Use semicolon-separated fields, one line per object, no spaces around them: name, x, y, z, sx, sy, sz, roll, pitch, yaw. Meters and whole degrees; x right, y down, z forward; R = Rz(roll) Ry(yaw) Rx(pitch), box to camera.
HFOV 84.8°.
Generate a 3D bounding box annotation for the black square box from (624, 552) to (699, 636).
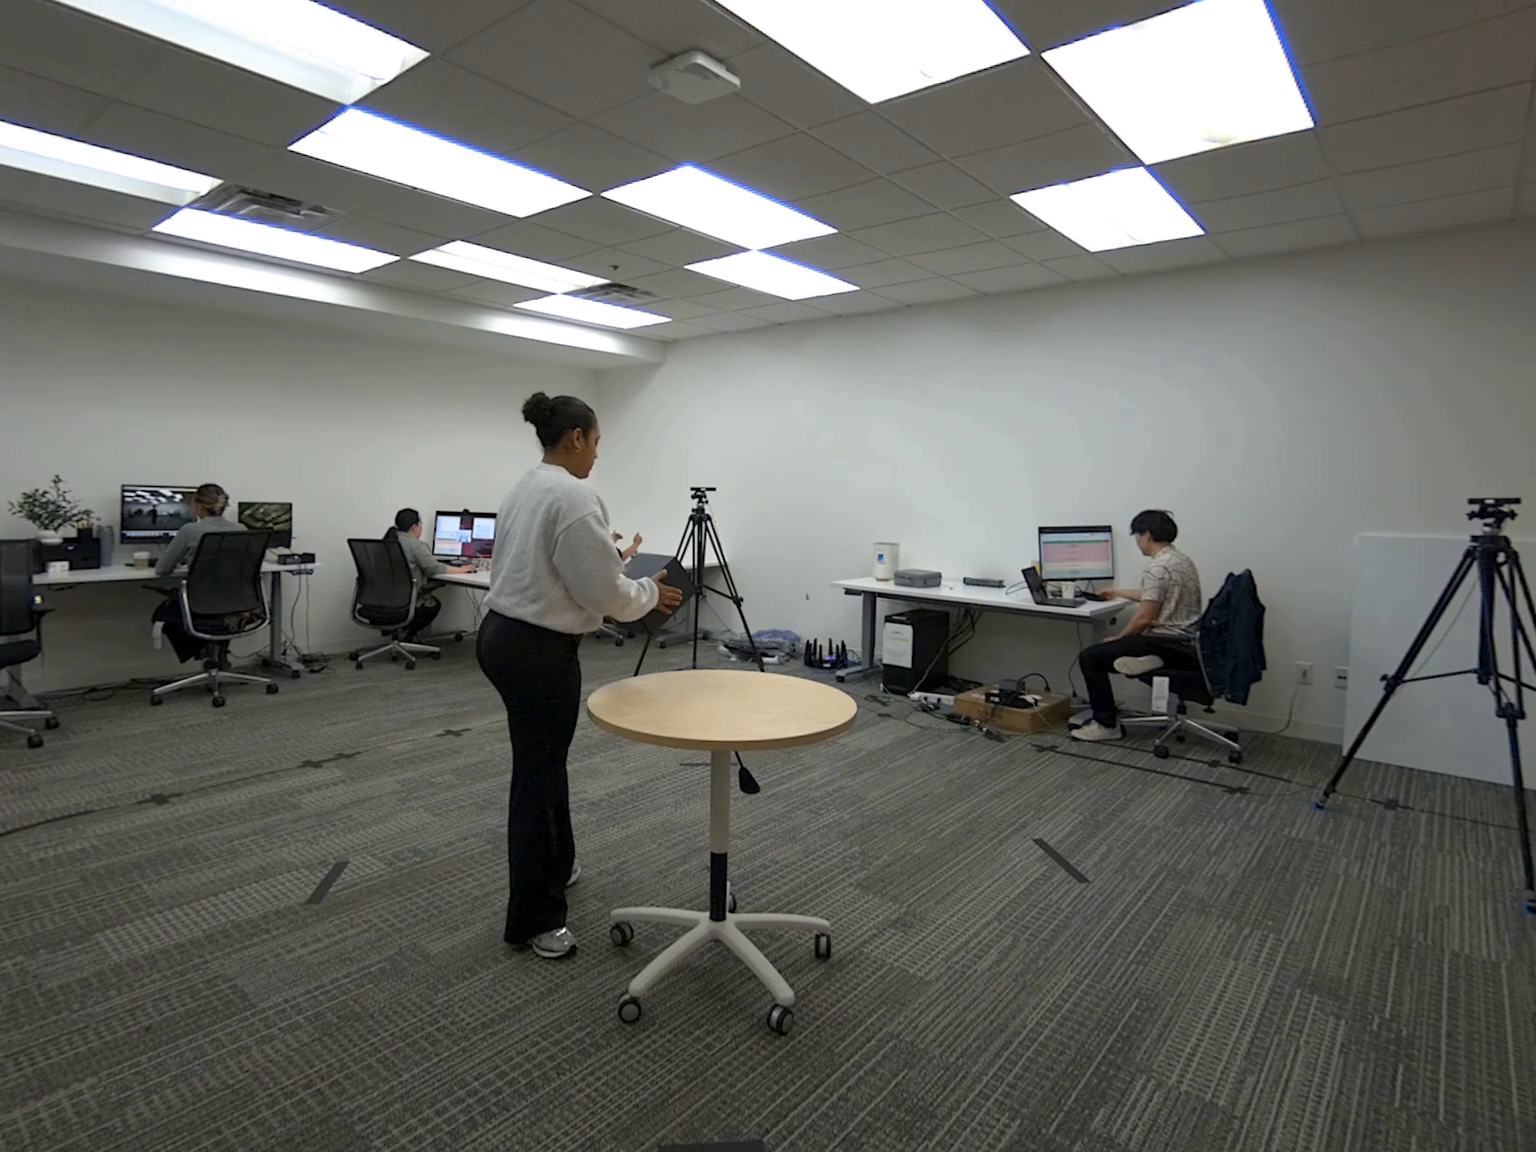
black square box;-0.416;0.051;2.847;0.224;0.151;0.227;7;45;50
